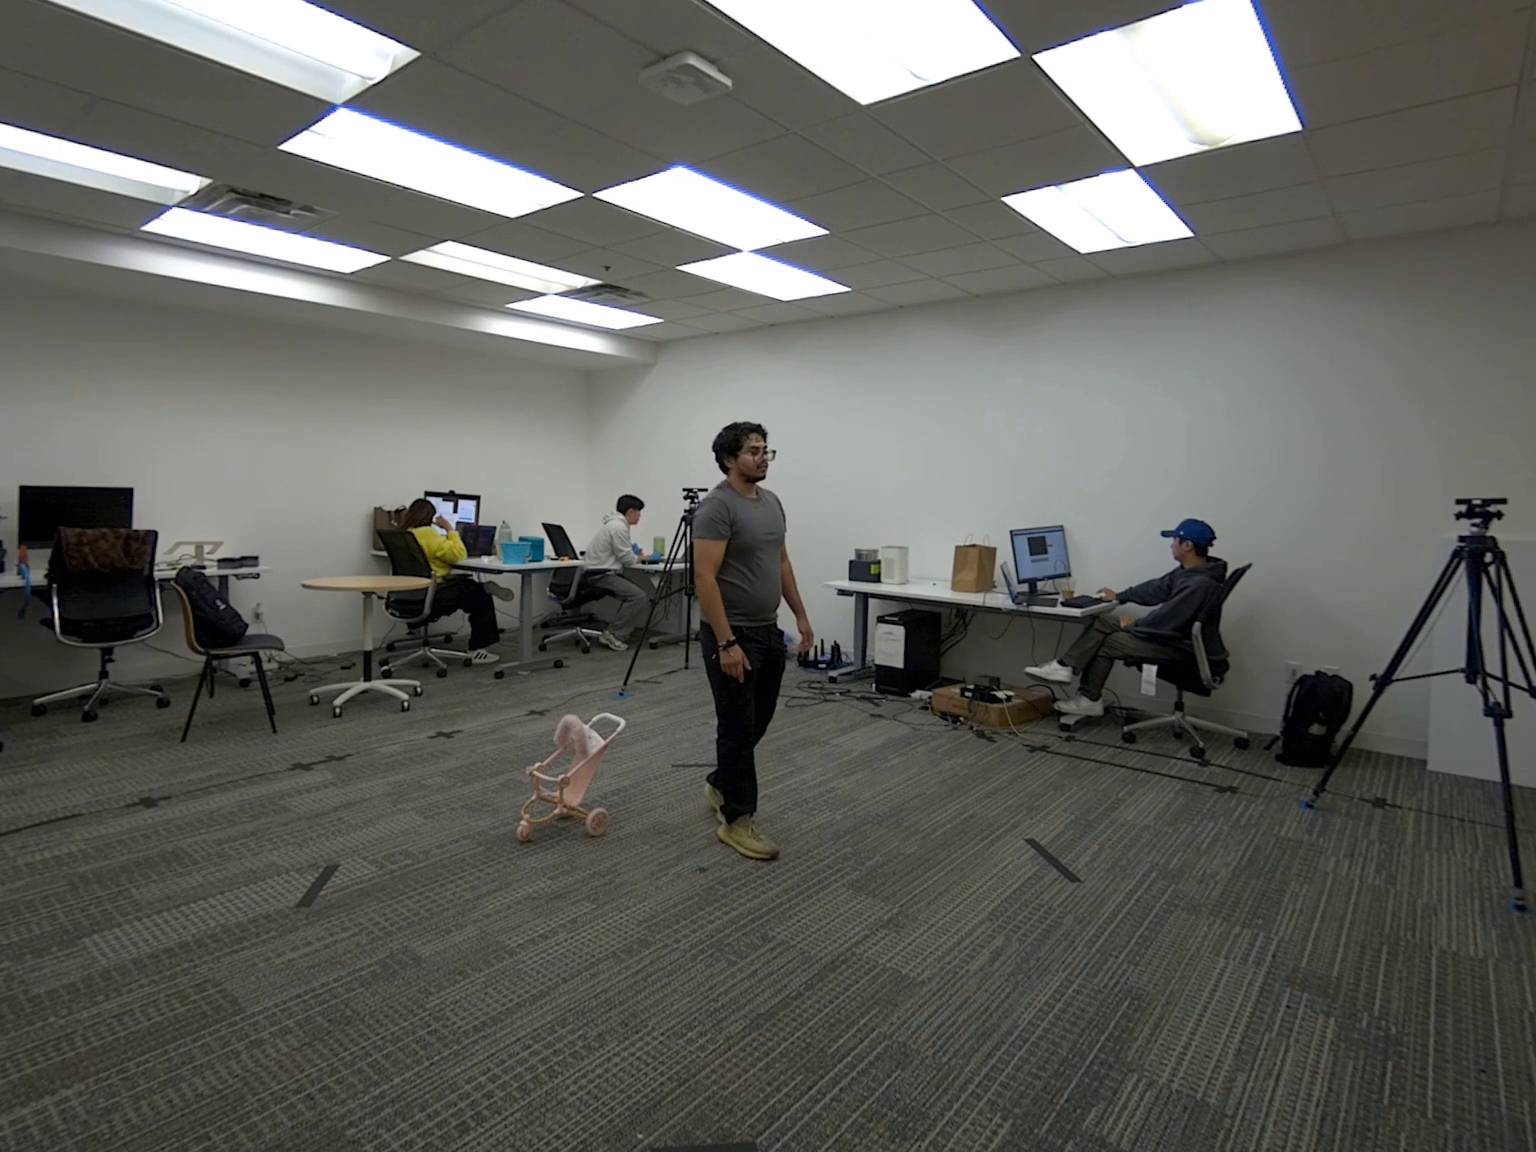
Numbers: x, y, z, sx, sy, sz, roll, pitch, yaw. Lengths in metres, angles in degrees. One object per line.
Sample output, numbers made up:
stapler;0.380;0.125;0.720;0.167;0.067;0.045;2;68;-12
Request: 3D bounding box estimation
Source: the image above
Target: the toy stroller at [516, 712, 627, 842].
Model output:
toy stroller;-0.826;0.805;3.452;0.328;0.537;0.291;19;-8;-38
